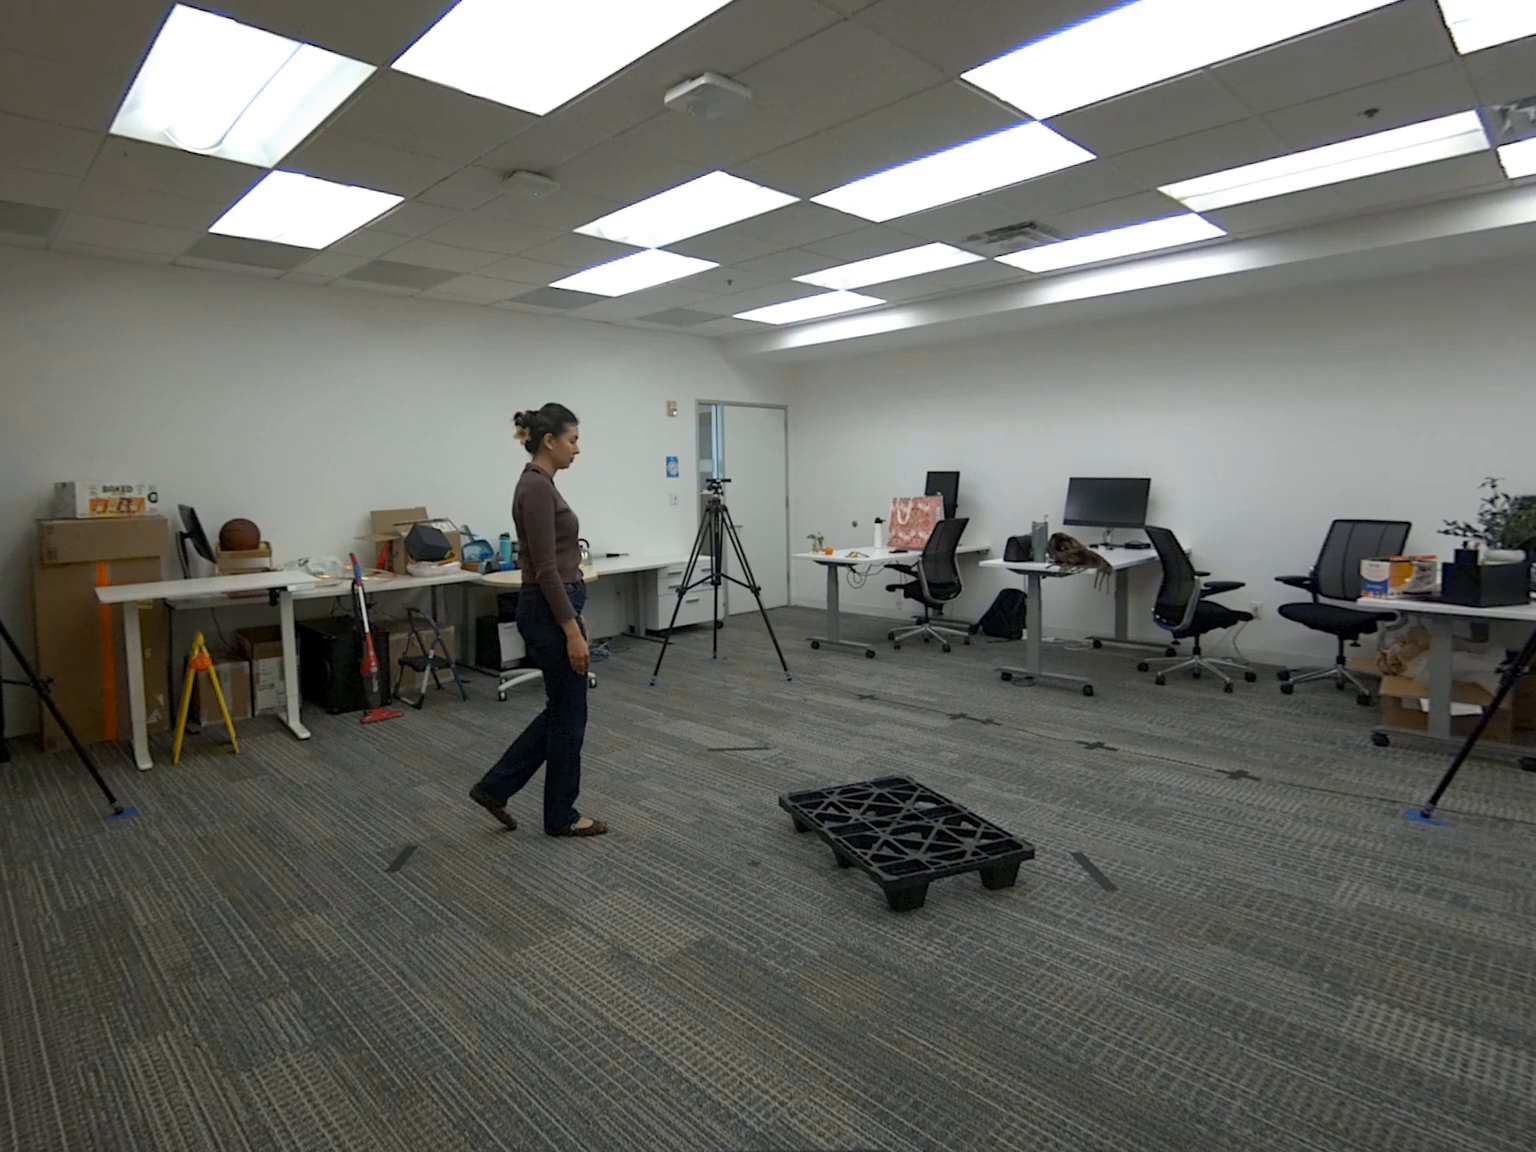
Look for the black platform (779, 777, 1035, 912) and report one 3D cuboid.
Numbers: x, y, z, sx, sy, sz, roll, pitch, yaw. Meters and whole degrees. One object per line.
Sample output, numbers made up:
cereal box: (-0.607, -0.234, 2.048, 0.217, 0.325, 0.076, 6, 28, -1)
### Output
black platform: (0.474, 0.965, 3.147, 0.594, 0.142, 0.825, -5, 7, -23)
